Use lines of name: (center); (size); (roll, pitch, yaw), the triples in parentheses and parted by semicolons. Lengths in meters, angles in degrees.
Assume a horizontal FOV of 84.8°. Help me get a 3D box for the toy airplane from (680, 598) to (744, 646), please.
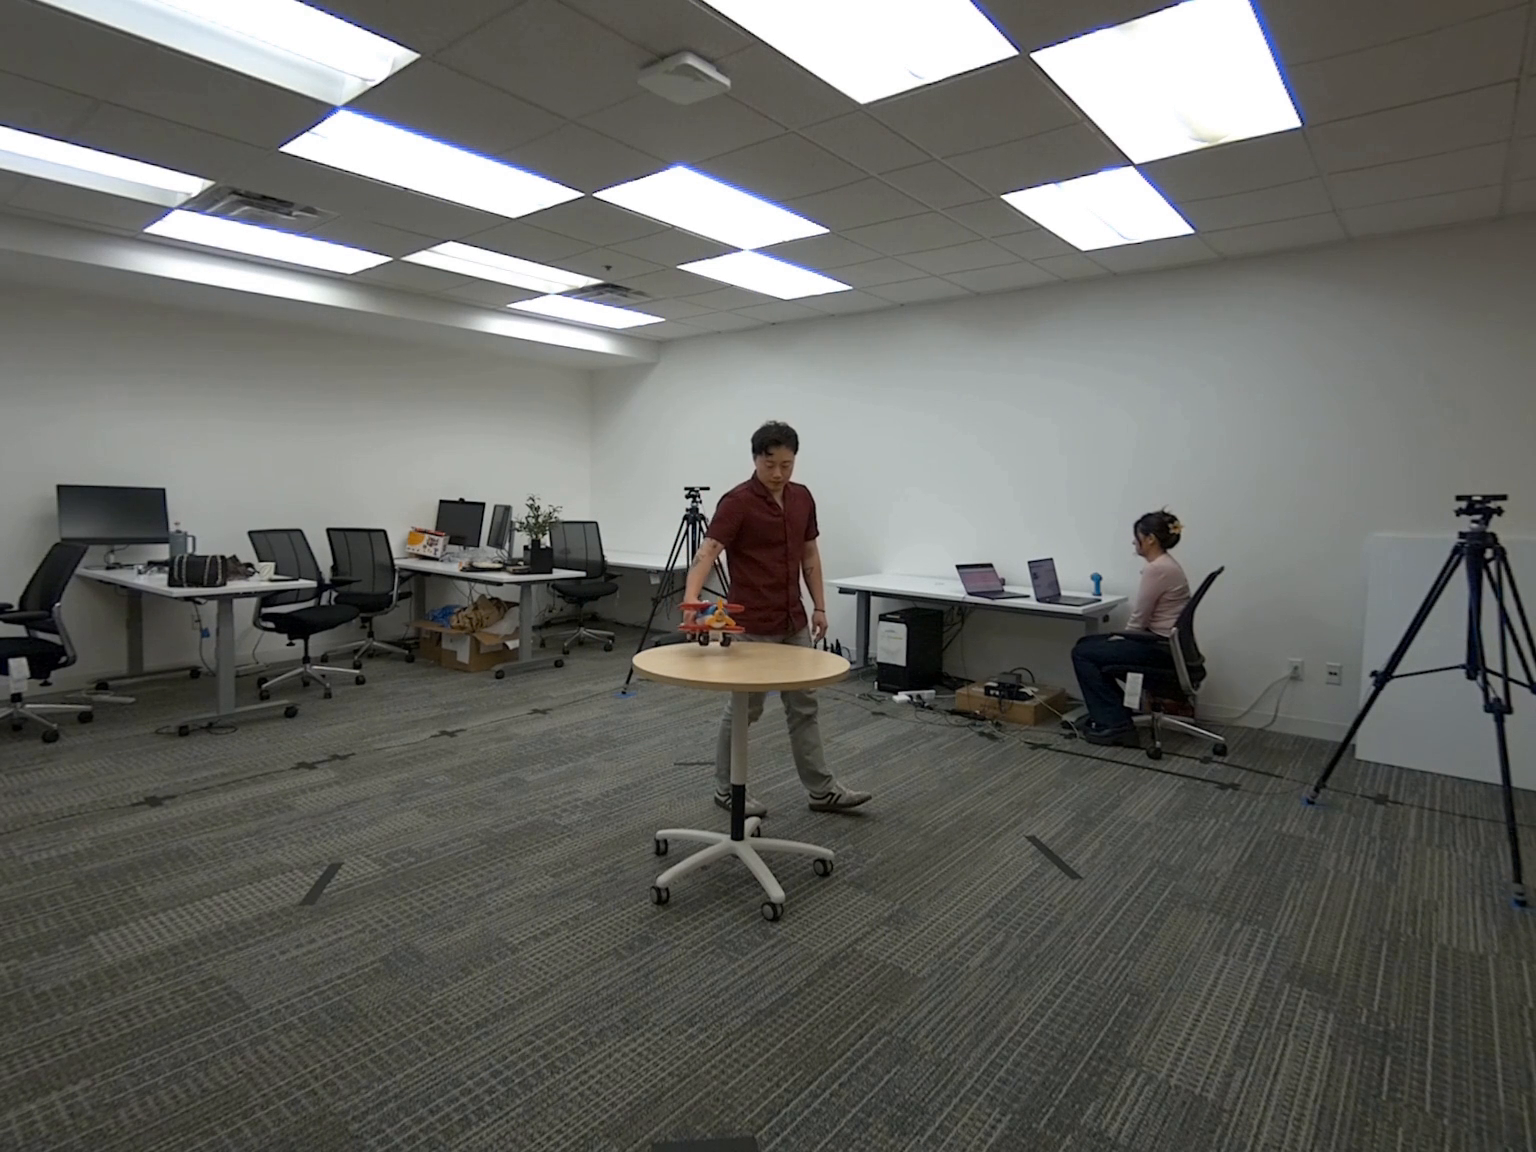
toy airplane: (-0.249, 0.168, 3.140); (0.268, 0.156, 0.243); (5, 0, 38)
